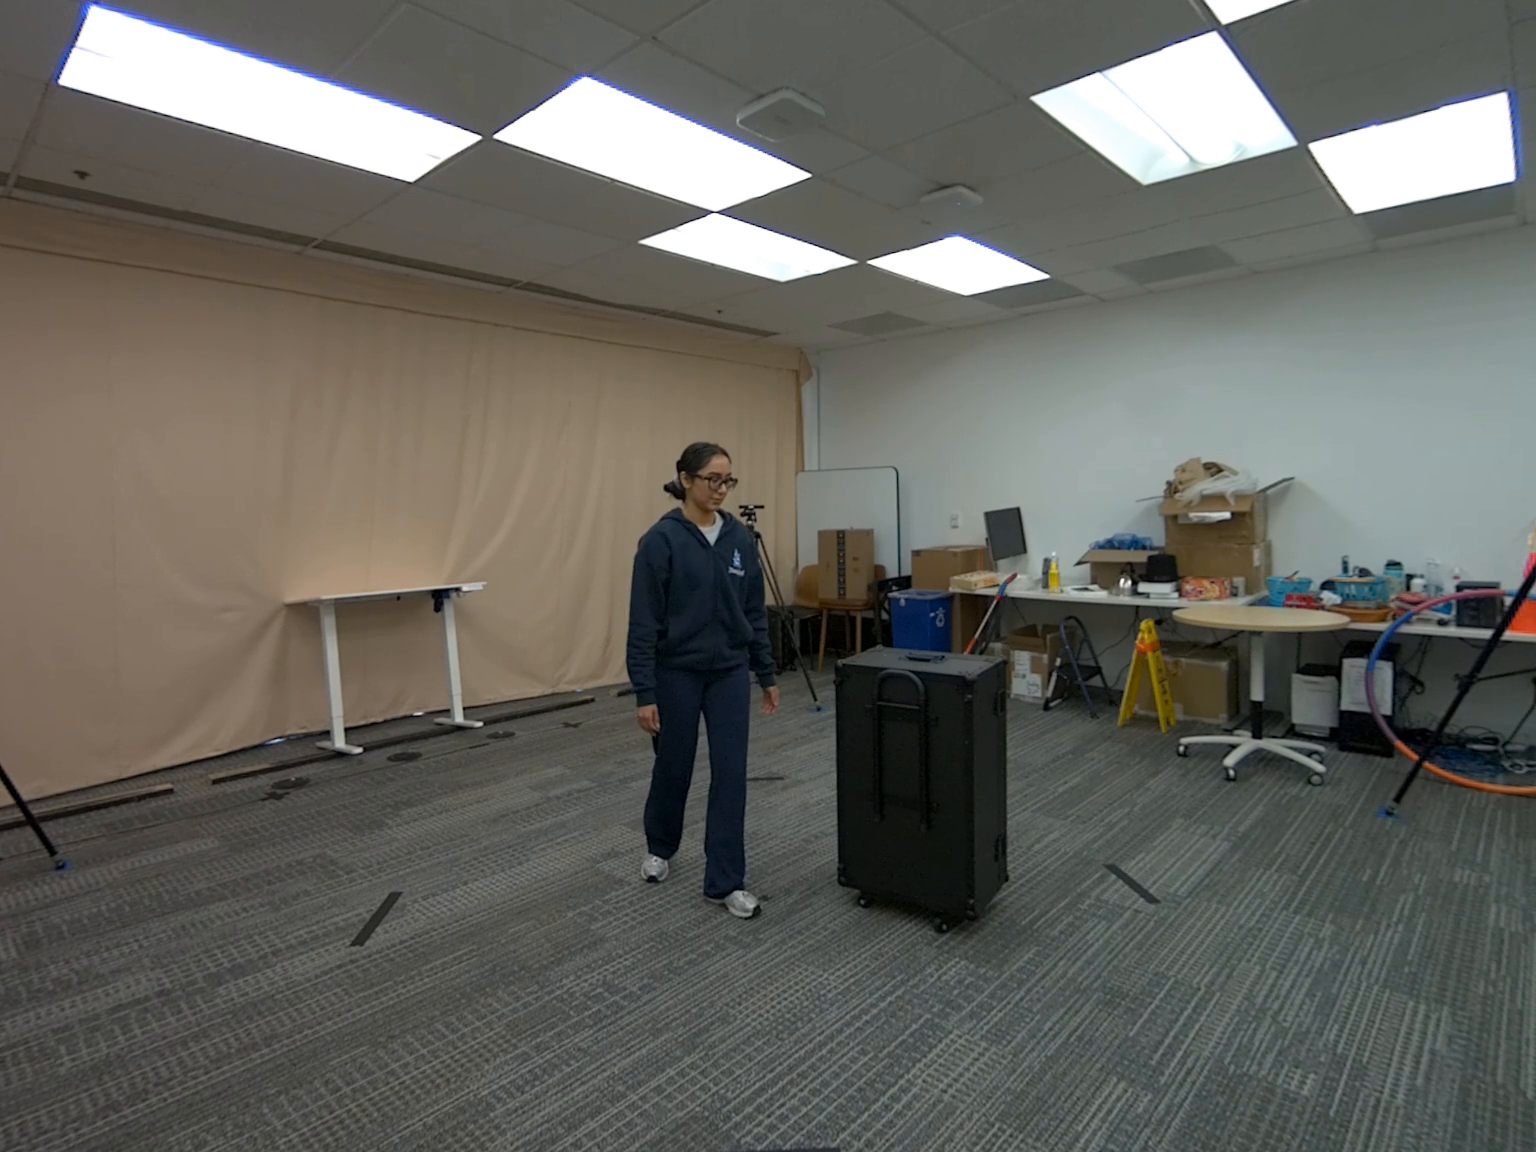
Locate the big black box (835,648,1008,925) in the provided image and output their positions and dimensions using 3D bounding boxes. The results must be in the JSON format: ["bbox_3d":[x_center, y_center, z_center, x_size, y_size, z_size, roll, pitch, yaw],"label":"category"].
[{"bbox_3d":[0.535,0.714,2.890,0.537,0.859,0.385,1,5,34],"label":"big black box"}]
